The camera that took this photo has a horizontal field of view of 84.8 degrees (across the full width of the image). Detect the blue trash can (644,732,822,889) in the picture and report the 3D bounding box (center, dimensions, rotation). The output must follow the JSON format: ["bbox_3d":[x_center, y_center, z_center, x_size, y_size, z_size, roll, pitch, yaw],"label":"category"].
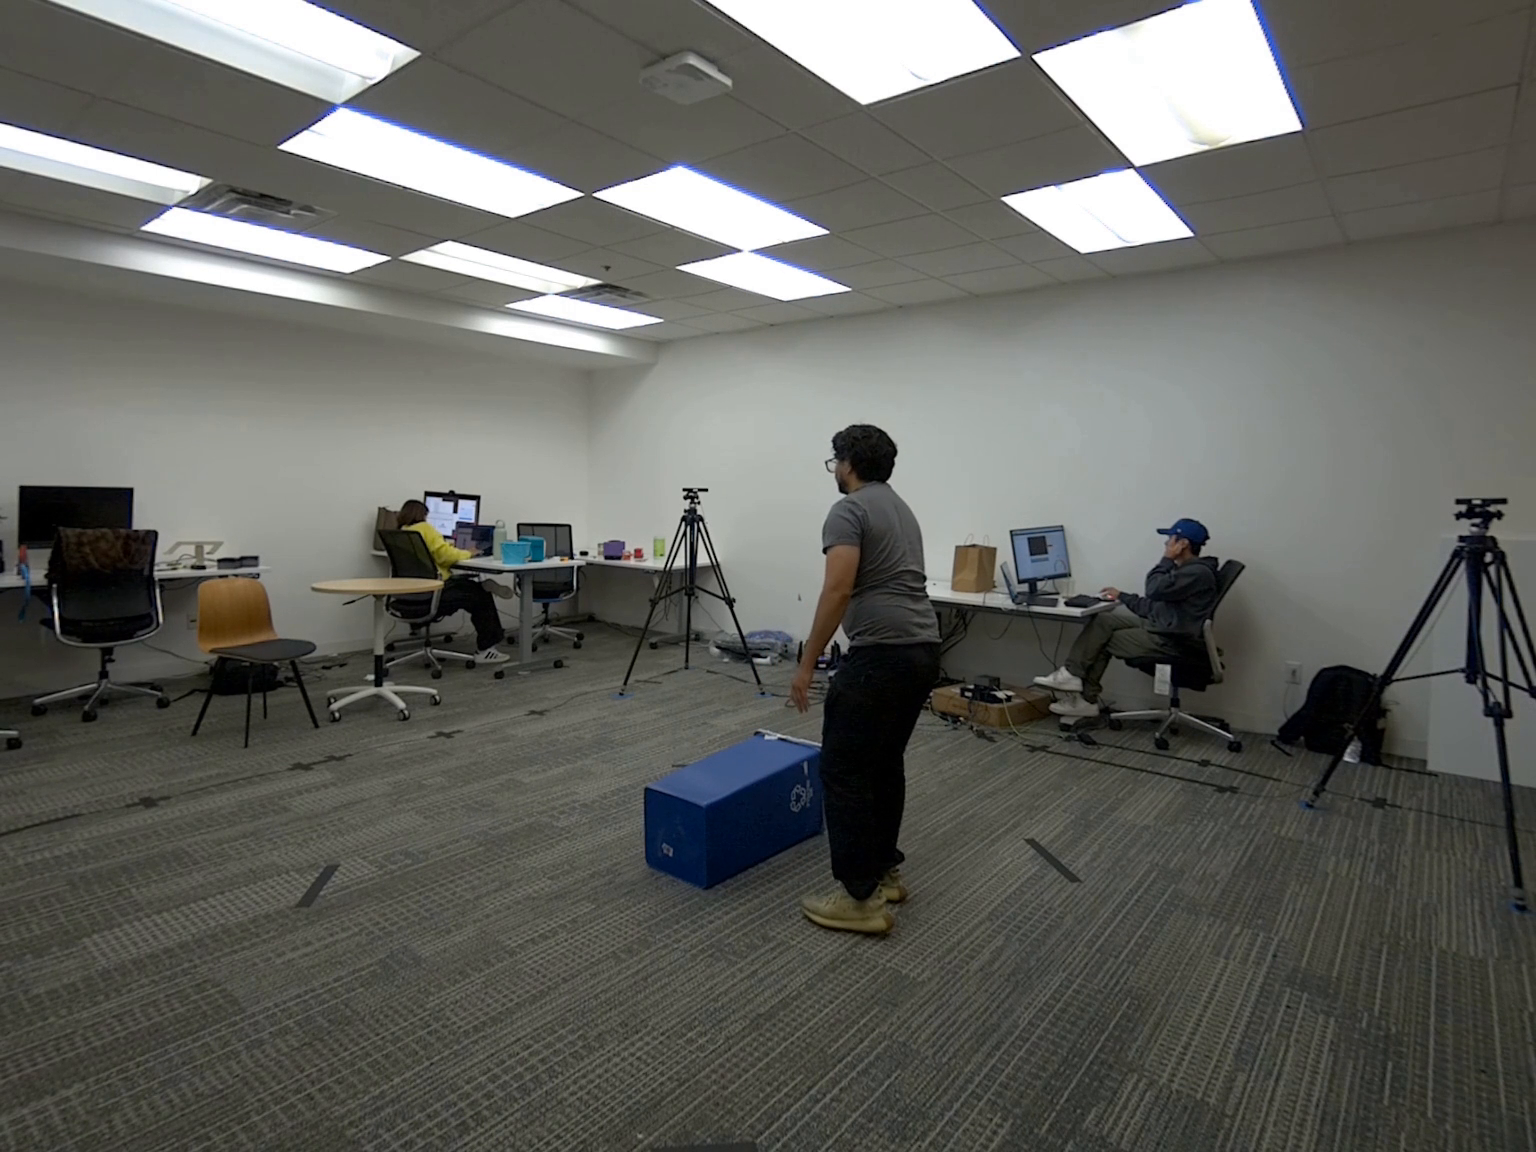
[{"bbox_3d":[-0.137,0.881,3.296,0.387,0.376,0.693,6,9,39],"label":"blue trash can"}]
